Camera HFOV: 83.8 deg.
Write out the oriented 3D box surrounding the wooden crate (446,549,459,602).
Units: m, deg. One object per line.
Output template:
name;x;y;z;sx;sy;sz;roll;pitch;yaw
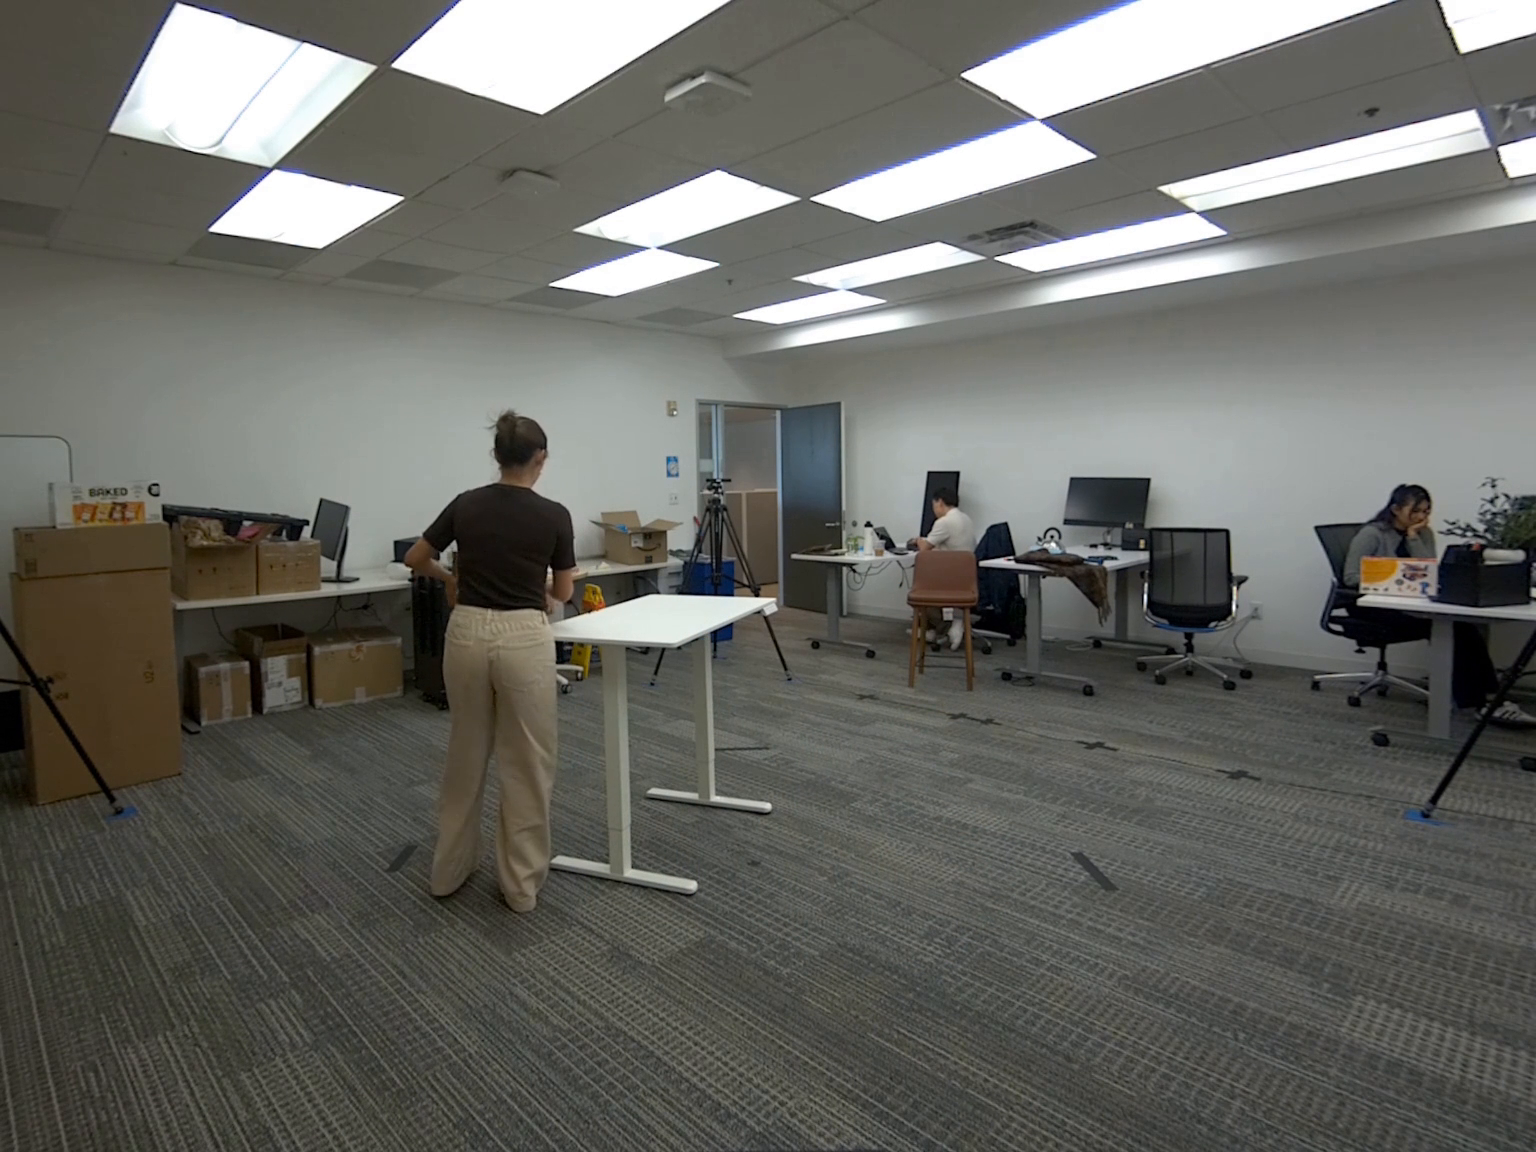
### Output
wooden crate;-0.981;0.015;3.148;0.322;0.271;0.307;4;12;-6
